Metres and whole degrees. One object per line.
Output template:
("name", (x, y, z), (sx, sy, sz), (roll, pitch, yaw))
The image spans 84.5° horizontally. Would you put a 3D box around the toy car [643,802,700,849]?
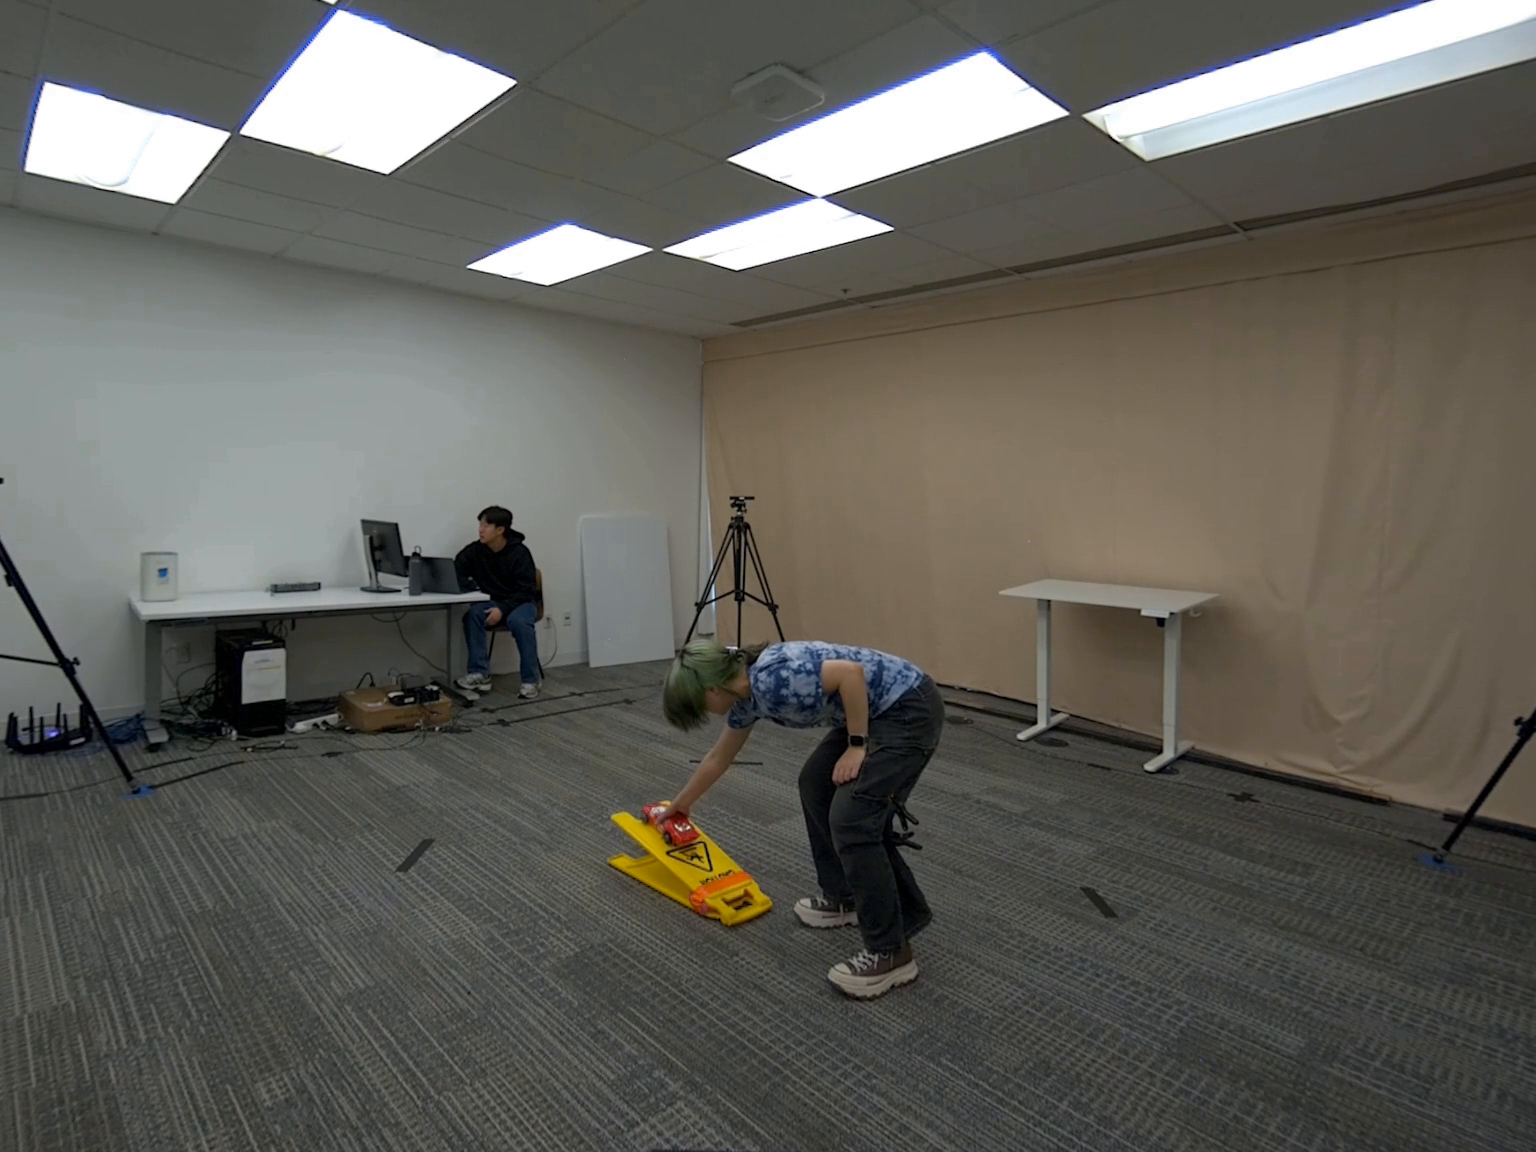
("toy car", (-0.364, 0.915, 3.086), (0.127, 0.083, 0.262), (2, 8, -44))
